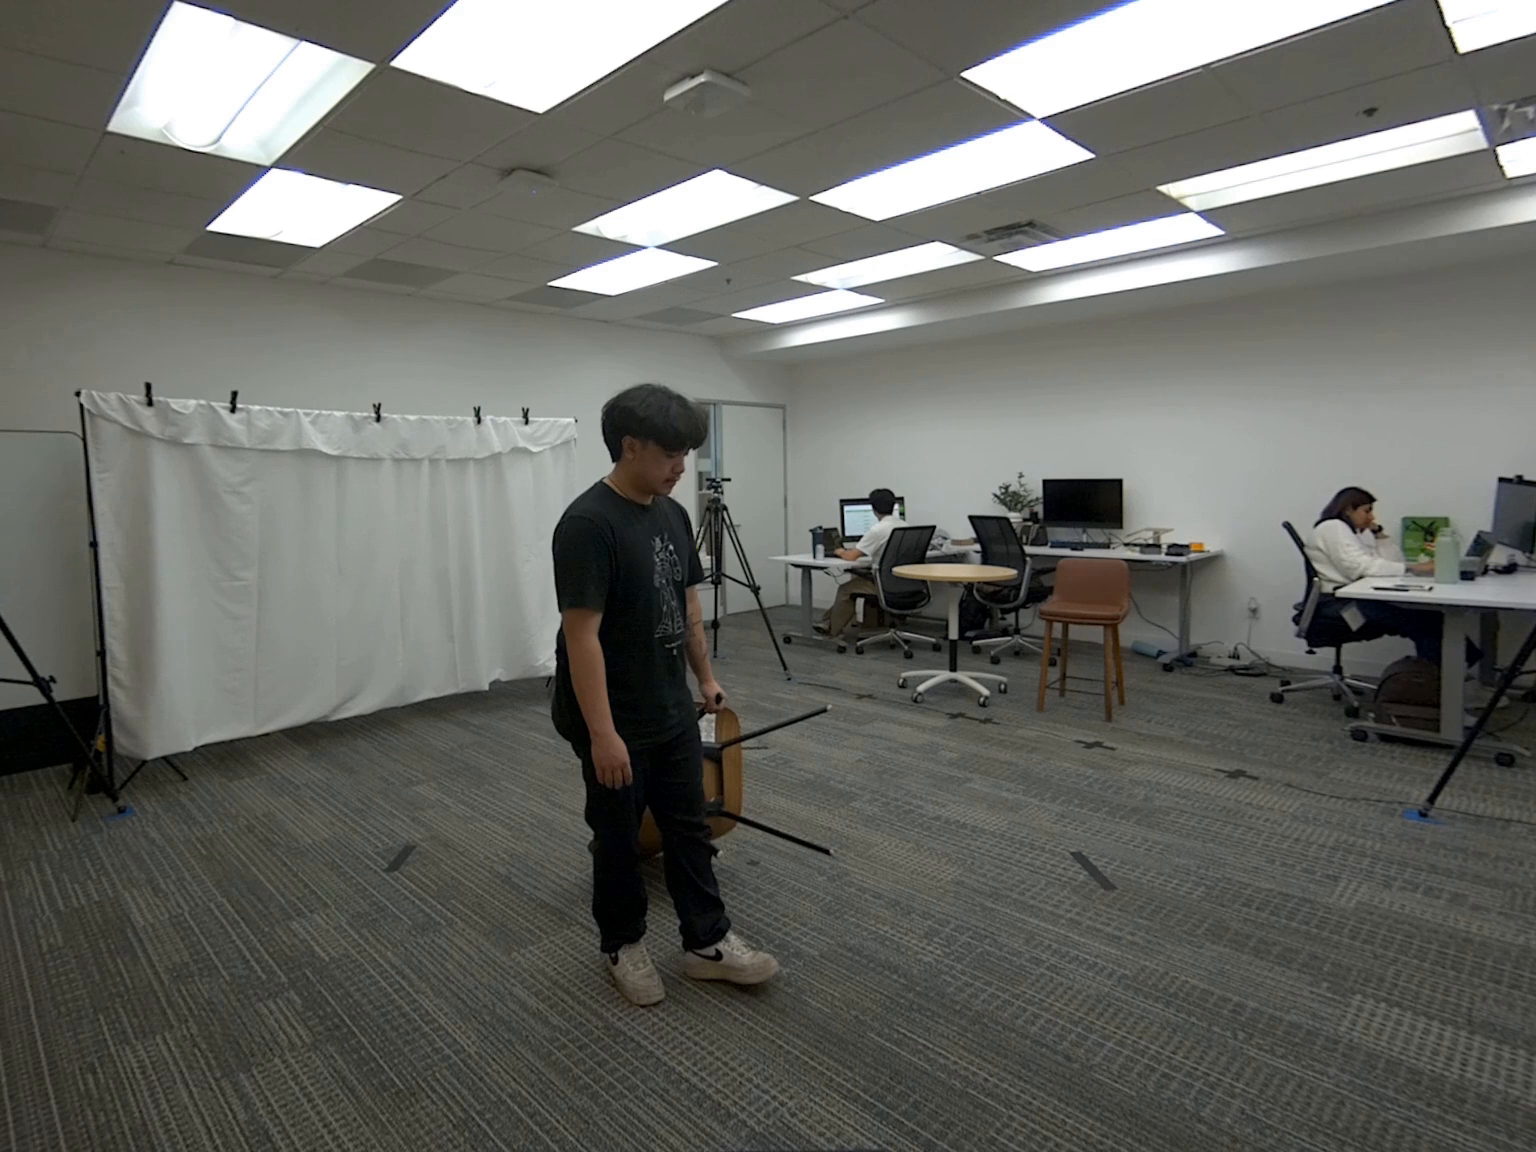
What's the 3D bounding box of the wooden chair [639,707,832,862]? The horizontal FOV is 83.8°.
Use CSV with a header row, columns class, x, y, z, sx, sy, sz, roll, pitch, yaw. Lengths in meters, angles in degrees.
class,x,y,z,sx,sy,sz,roll,pitch,yaw
wooden chair,-0.241,0.686,2.878,0.462,0.533,0.890,13,-25,-37
